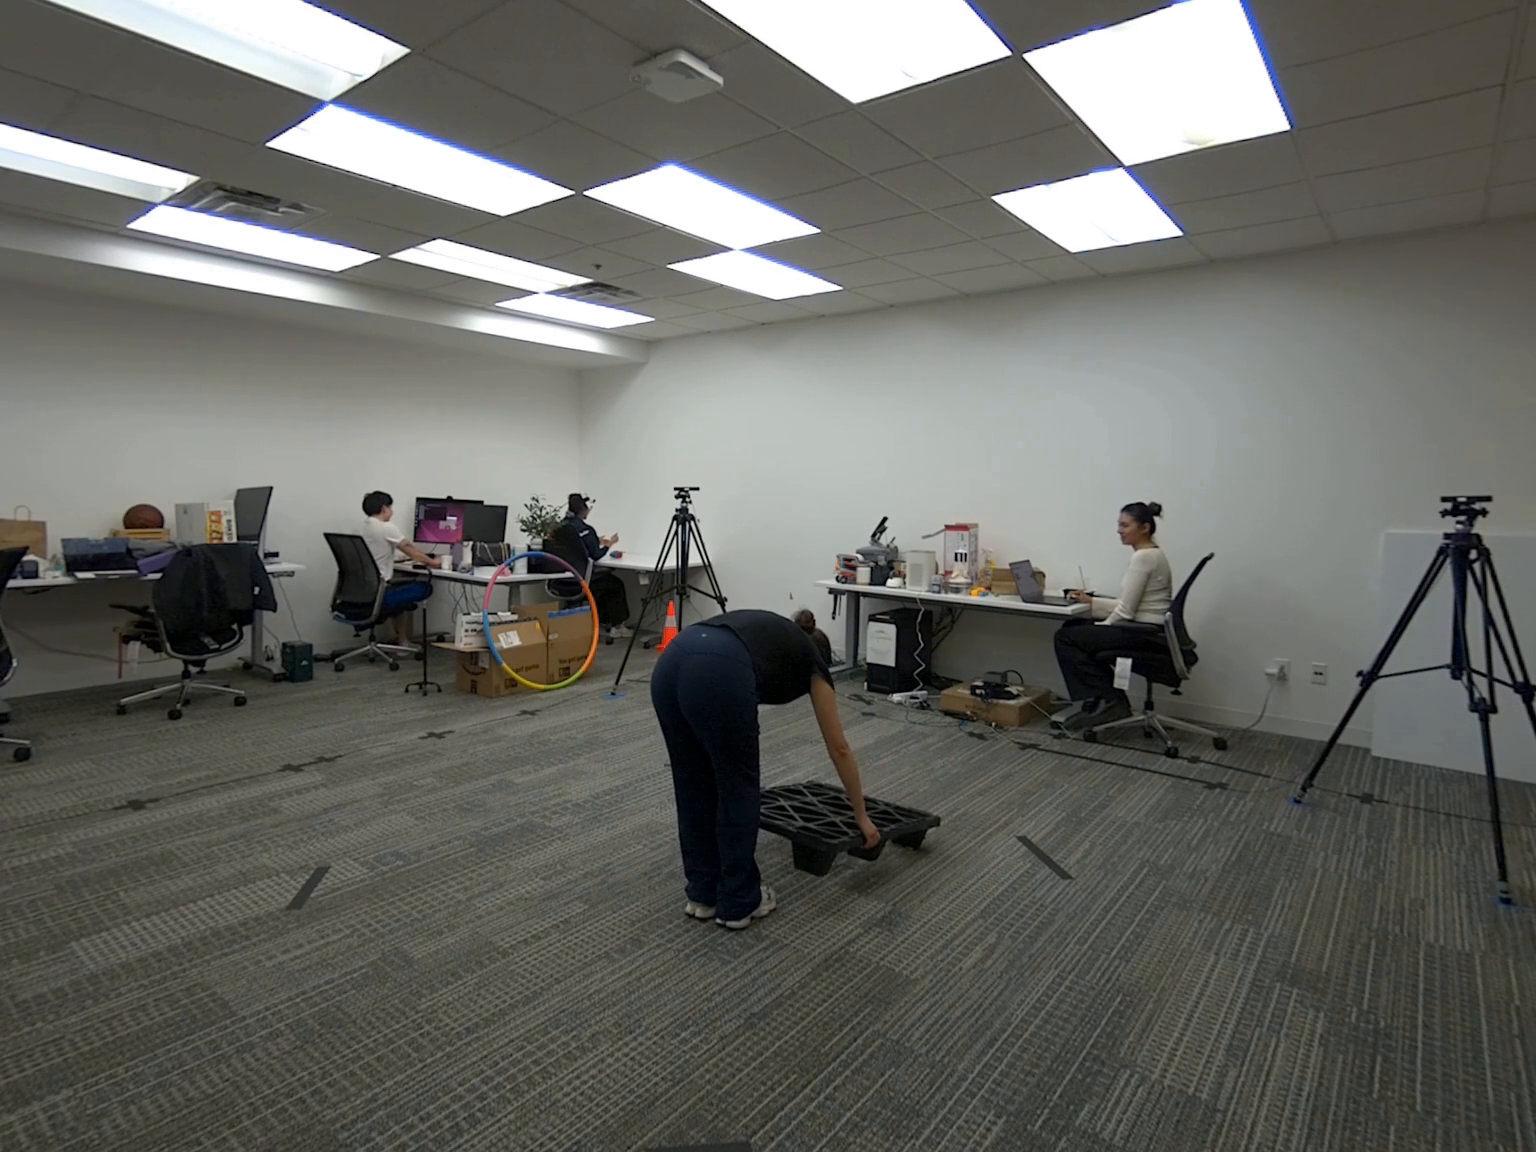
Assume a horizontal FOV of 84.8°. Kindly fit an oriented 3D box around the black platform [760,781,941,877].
[{"bbox_3d":[0.219,0.937,3.223,0.625,0.144,0.776,4,-4,40],"label":"black platform"}]
